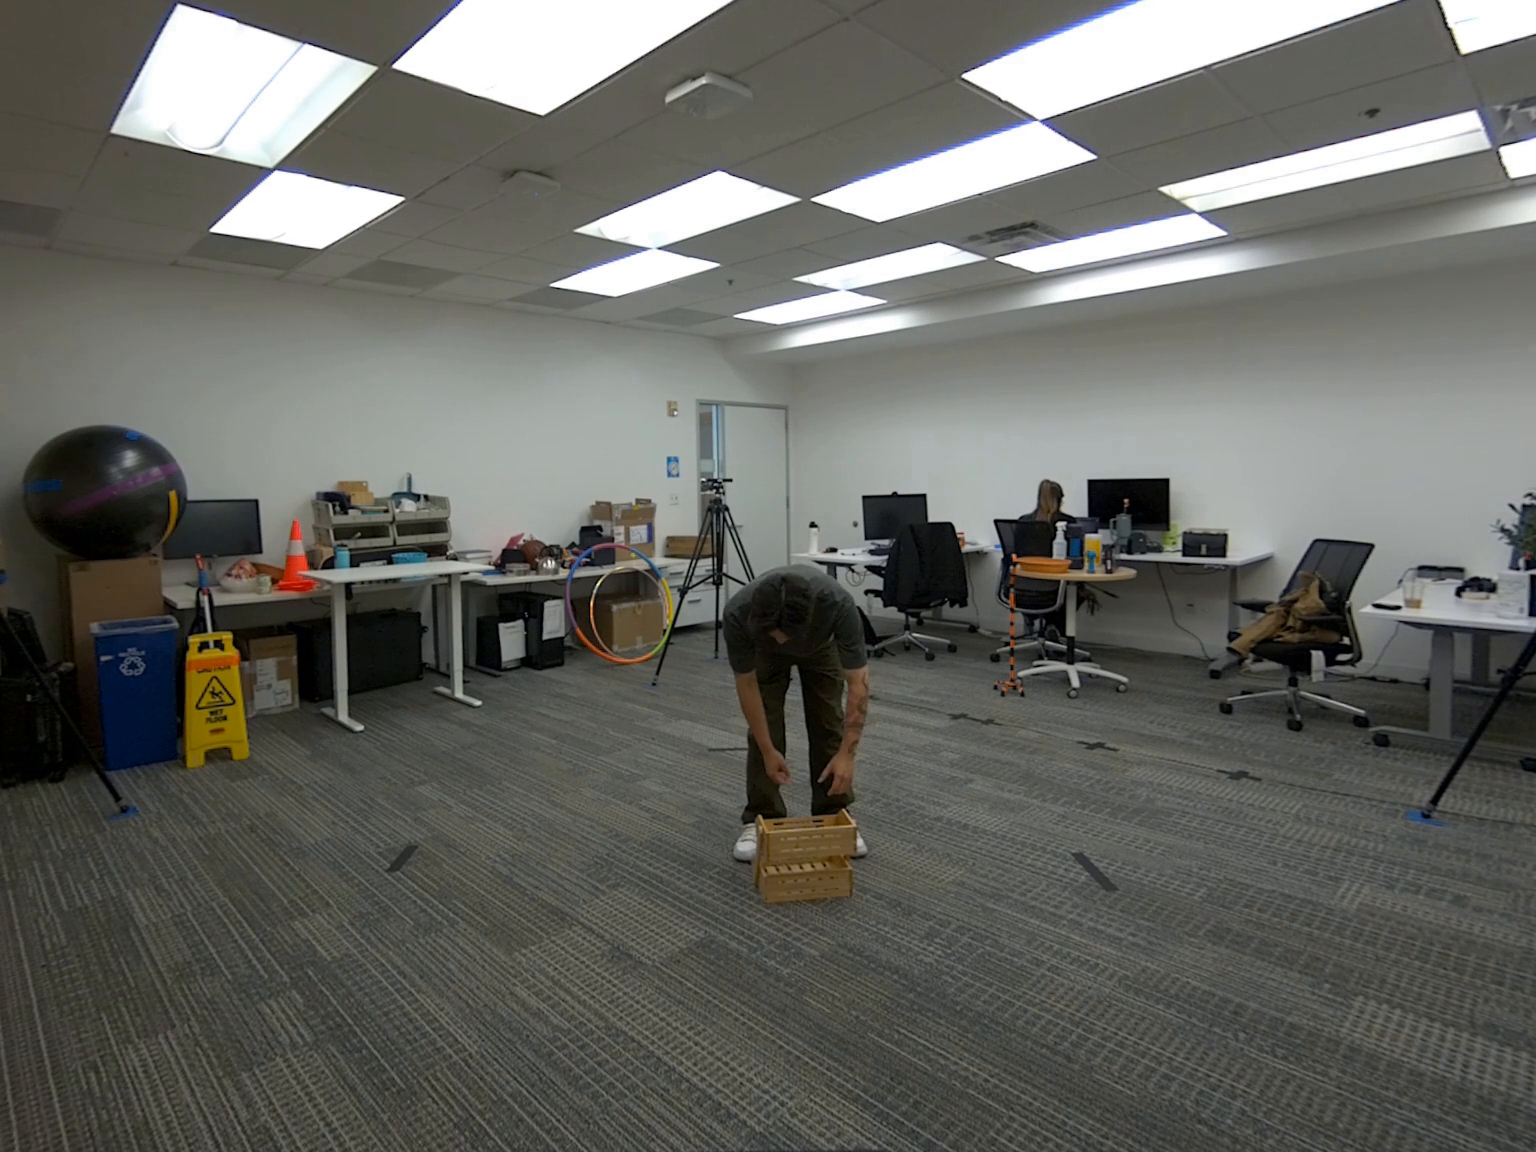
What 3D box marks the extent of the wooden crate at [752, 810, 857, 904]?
[{"bbox_3d":[0.115,0.940,2.917,0.322,0.271,0.306,-2,8,-9],"label":"wooden crate"}]
